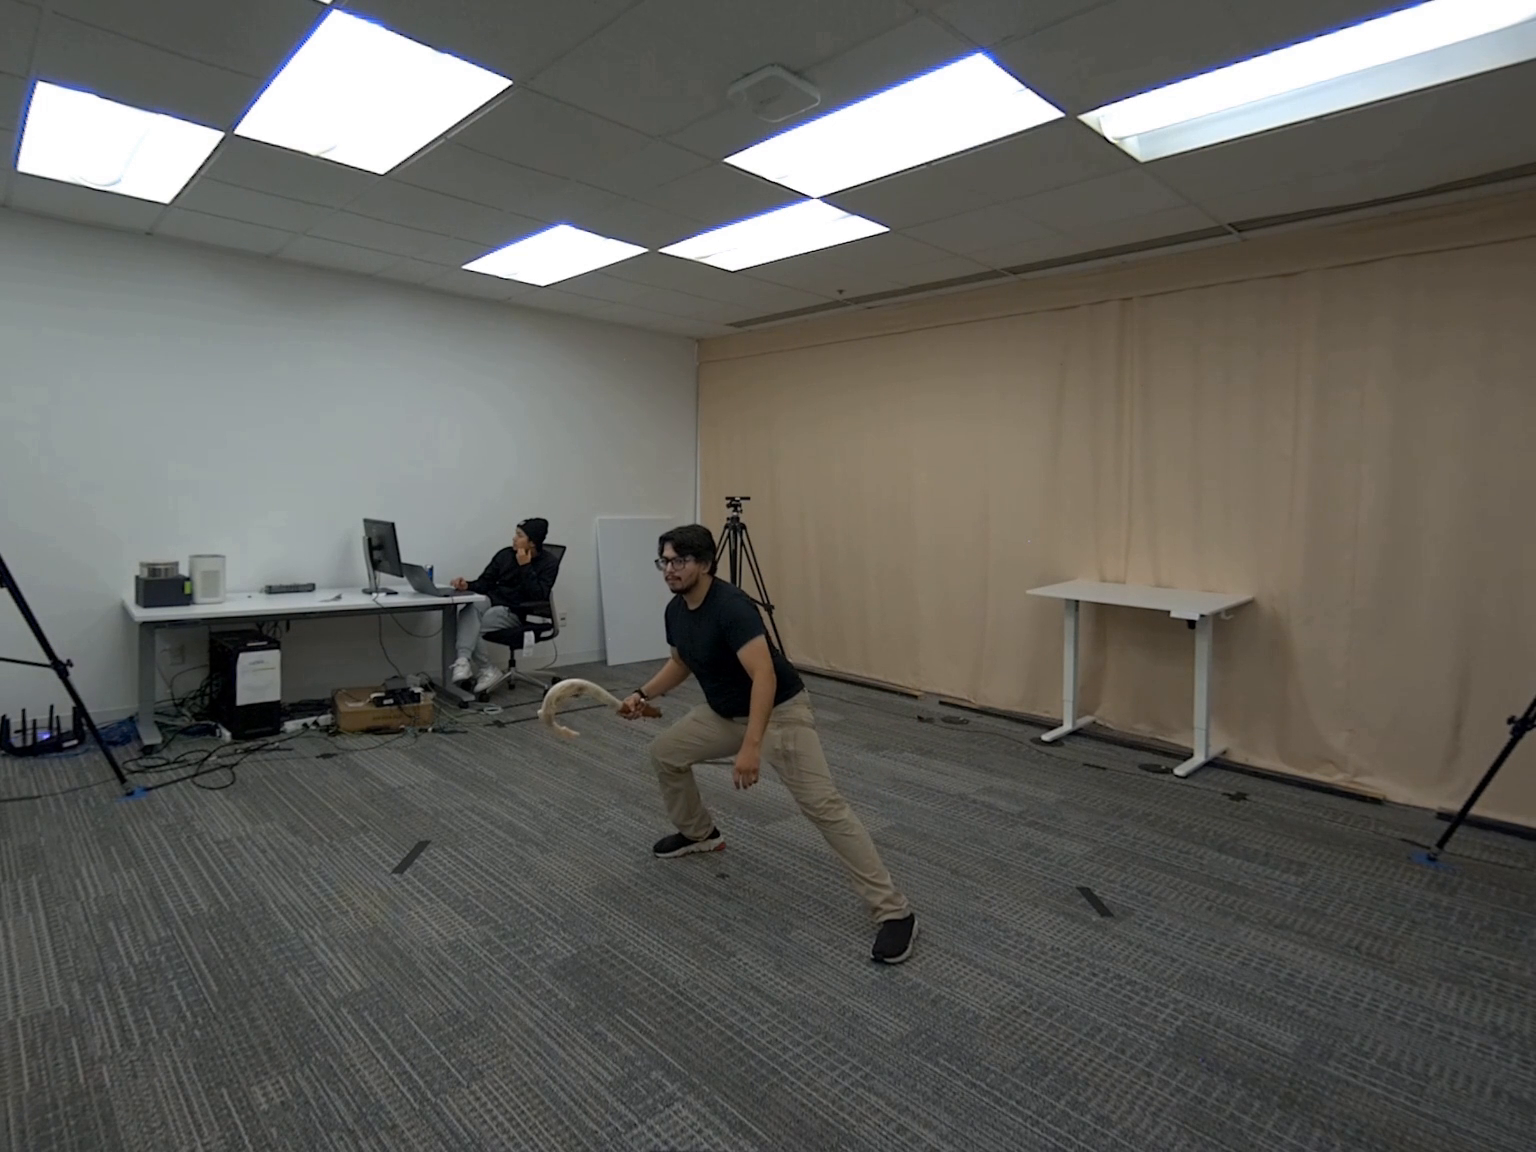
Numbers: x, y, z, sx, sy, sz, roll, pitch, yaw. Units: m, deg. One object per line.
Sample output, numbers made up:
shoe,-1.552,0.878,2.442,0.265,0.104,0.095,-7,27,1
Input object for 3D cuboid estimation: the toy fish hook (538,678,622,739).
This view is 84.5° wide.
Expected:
toy fish hook,-0.608,0.505,3.075,0.492,0.224,0.050,23,12,-38
